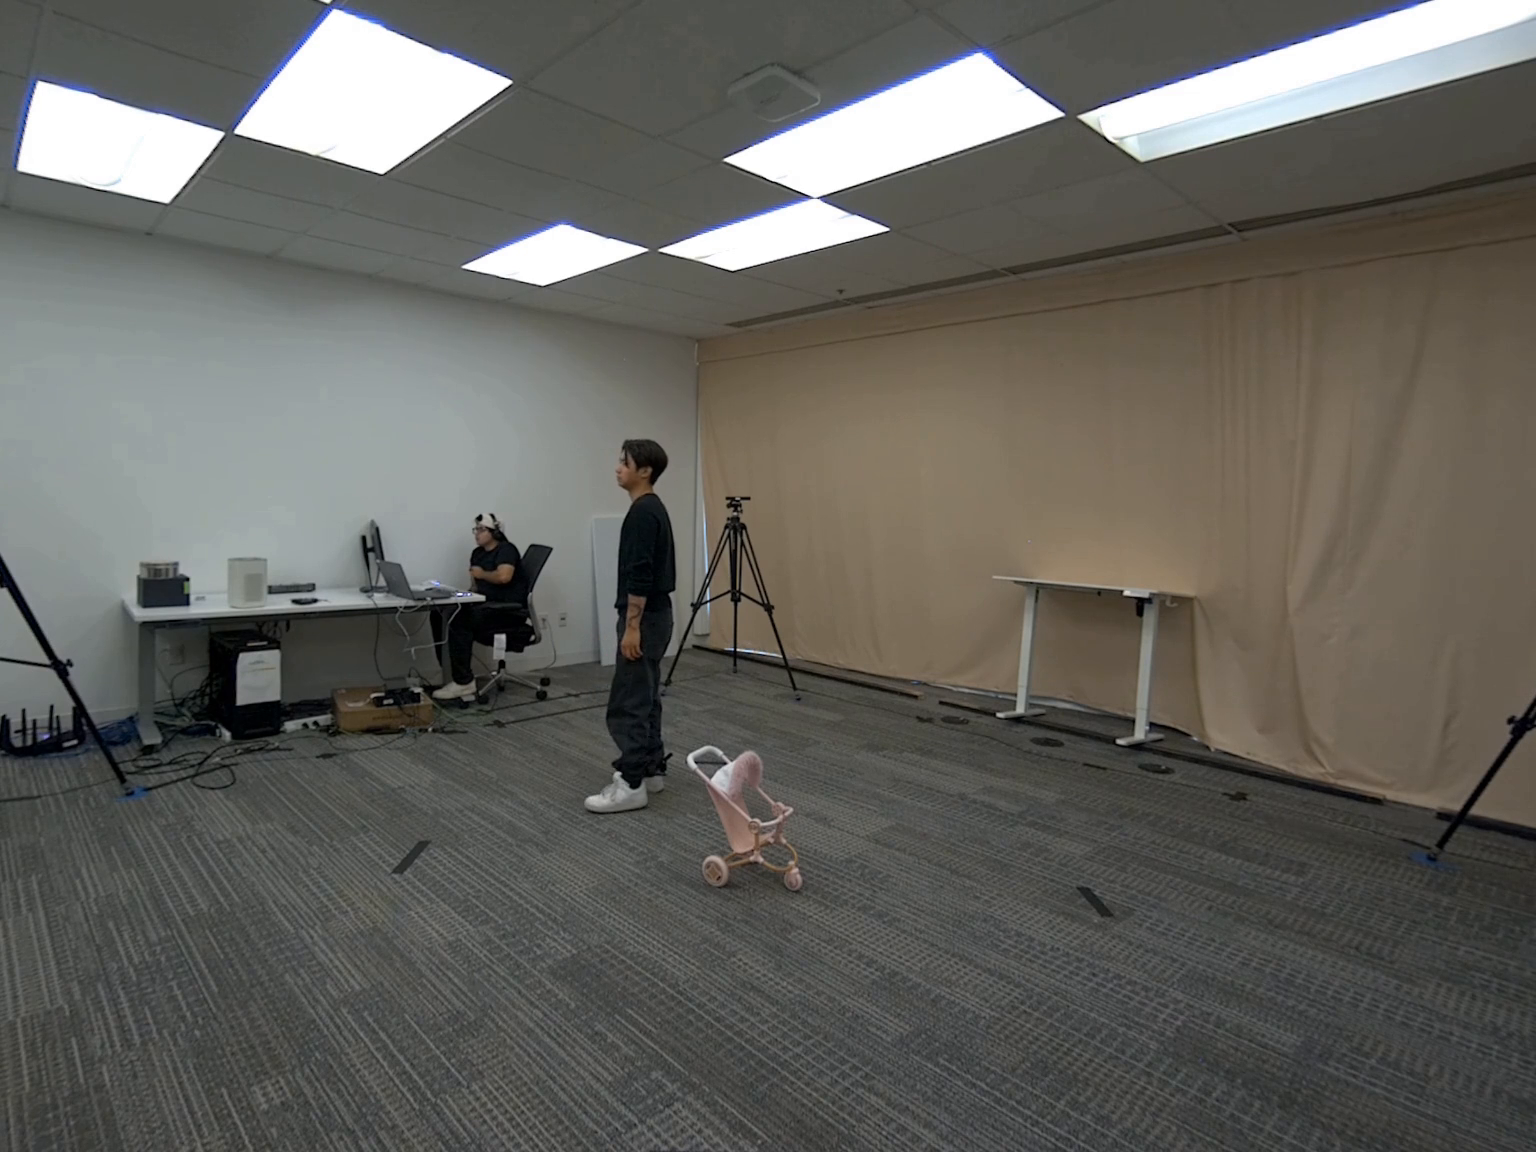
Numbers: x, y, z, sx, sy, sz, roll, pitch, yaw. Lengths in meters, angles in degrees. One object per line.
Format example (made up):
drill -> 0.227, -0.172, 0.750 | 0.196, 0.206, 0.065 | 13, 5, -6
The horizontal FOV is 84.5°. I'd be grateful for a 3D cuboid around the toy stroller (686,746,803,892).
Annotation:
toy stroller -> -0.077, 0.883, 3.079 | 0.347, 0.537, 0.276 | -15, -6, 32
